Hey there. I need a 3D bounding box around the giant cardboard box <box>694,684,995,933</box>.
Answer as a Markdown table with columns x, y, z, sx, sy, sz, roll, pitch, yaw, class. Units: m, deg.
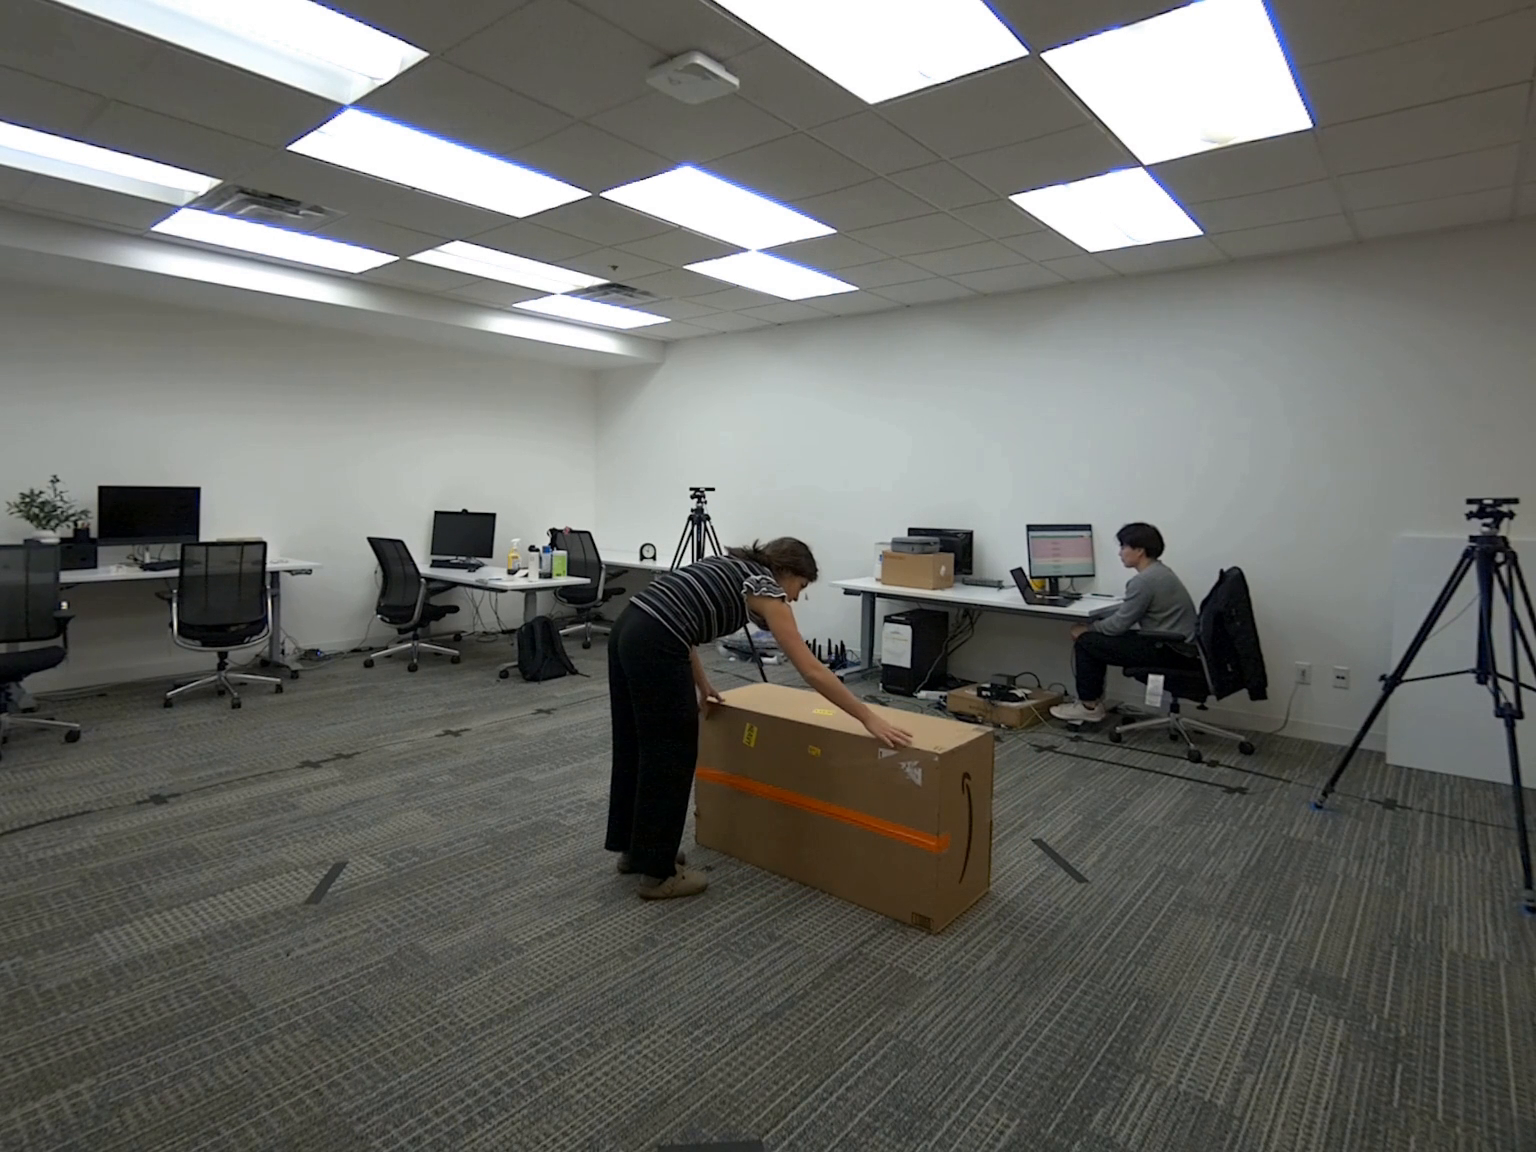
| x | y | z | sx | sy | sz | roll | pitch | yaw | class |
| --- | --- | --- | --- | --- | --- | --- | --- | --- | --- |
| 0.246 | 0.783 | 3.145 | 1.060 | 0.576 | 0.413 | 5 | 5 | 39 | giant cardboard box |
